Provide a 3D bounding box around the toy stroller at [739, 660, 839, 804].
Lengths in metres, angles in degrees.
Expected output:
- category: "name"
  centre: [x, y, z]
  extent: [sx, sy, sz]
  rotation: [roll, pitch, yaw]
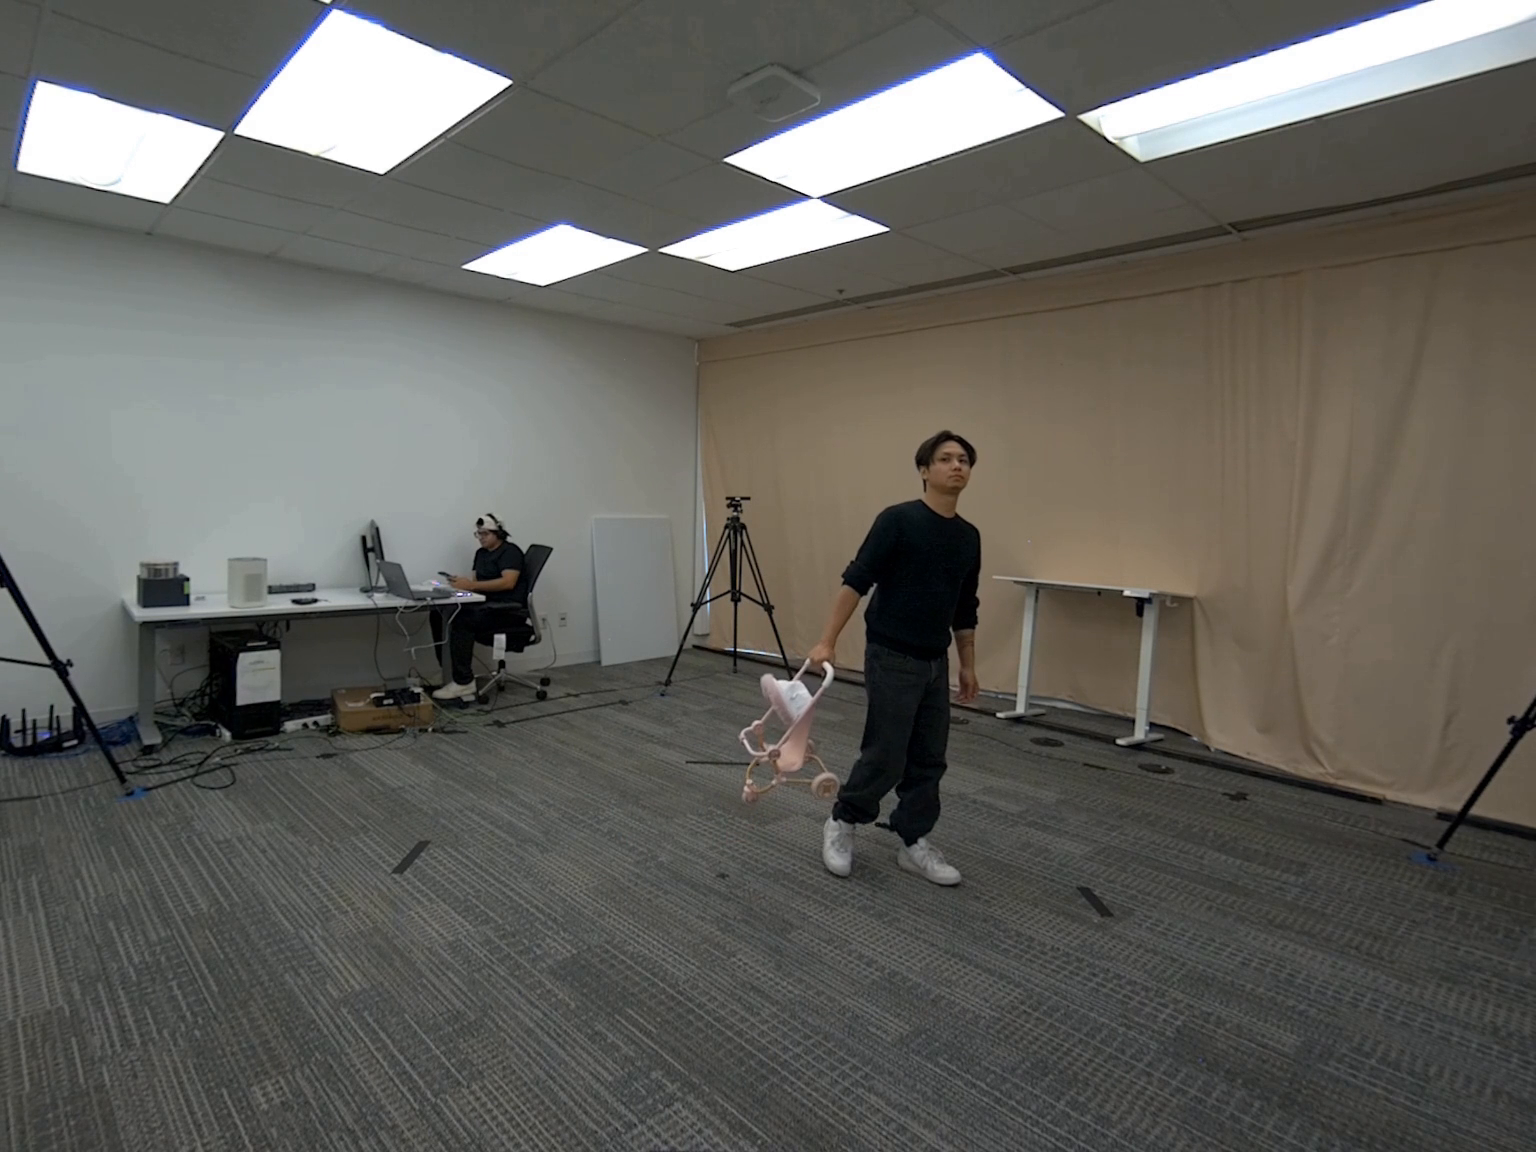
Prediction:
- category: "toy stroller"
  centre: [0.054, 0.575, 3.037]
  extent: [0.339, 0.528, 0.287]
  rotation: [-4, 18, -11]
